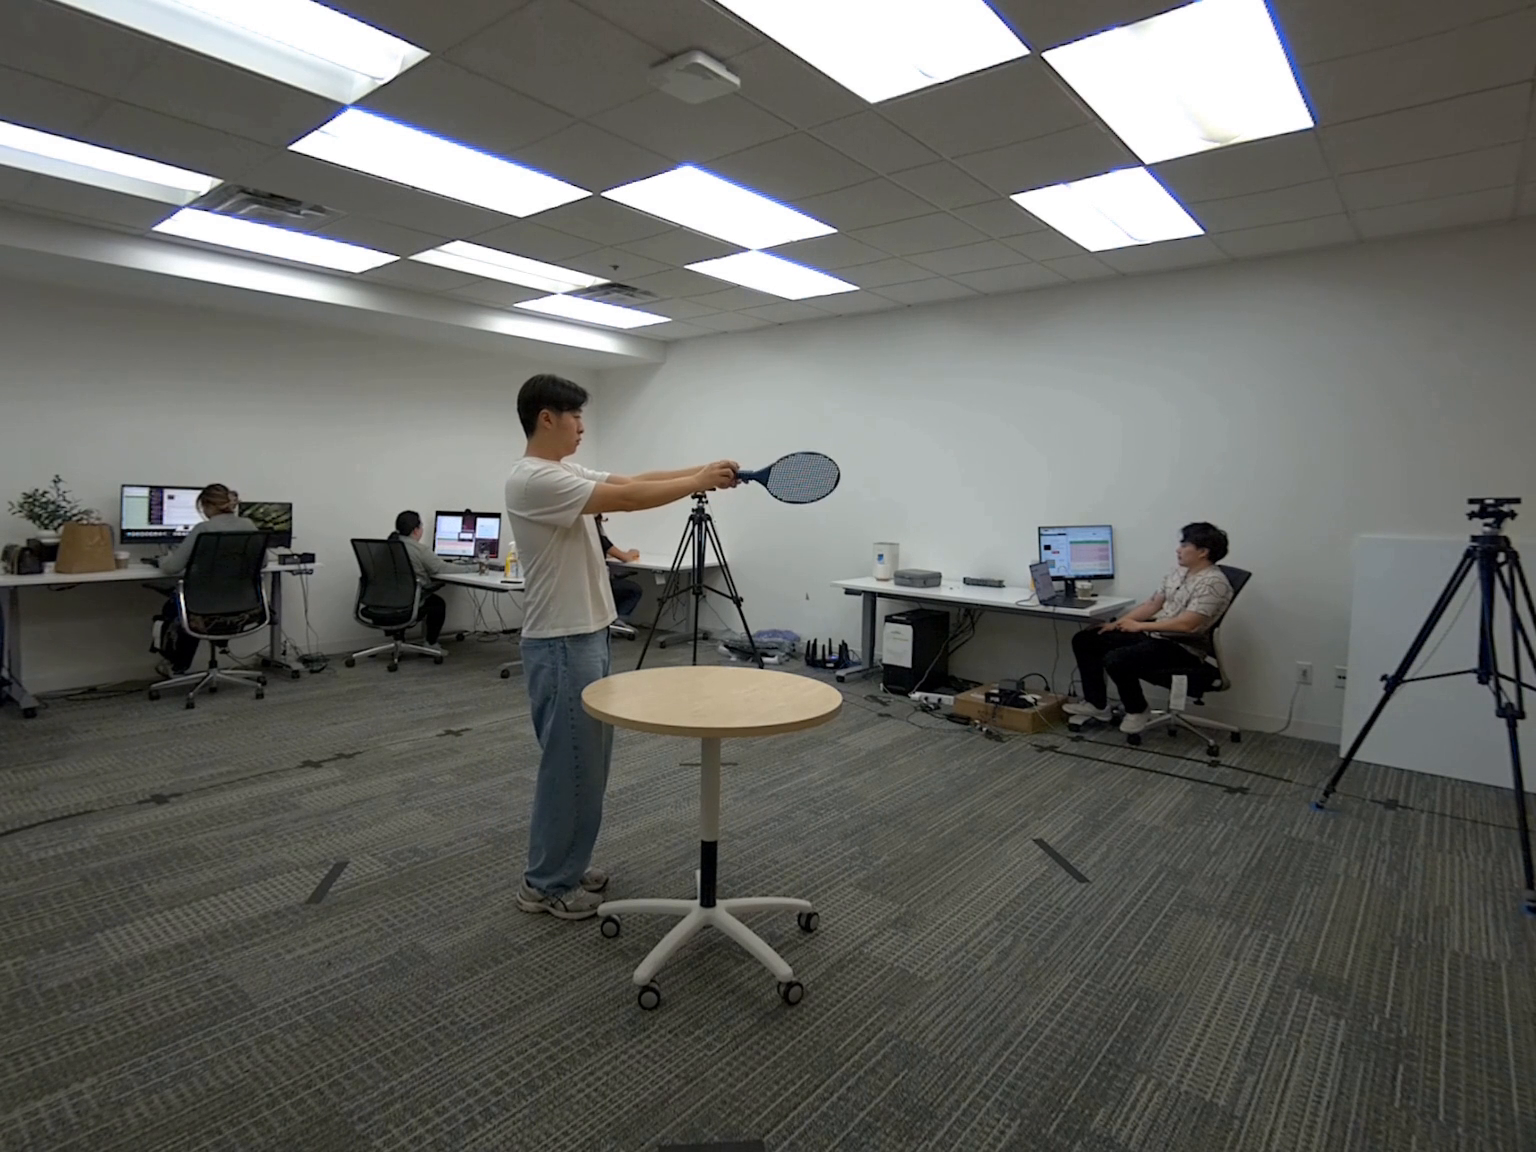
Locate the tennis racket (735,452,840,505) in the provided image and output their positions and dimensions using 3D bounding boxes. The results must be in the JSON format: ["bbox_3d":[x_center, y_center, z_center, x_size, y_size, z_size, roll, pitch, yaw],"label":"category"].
[{"bbox_3d":[0.017,-0.341,2.883,0.426,0.209,0.033,1,35,-14],"label":"tennis racket"}]
